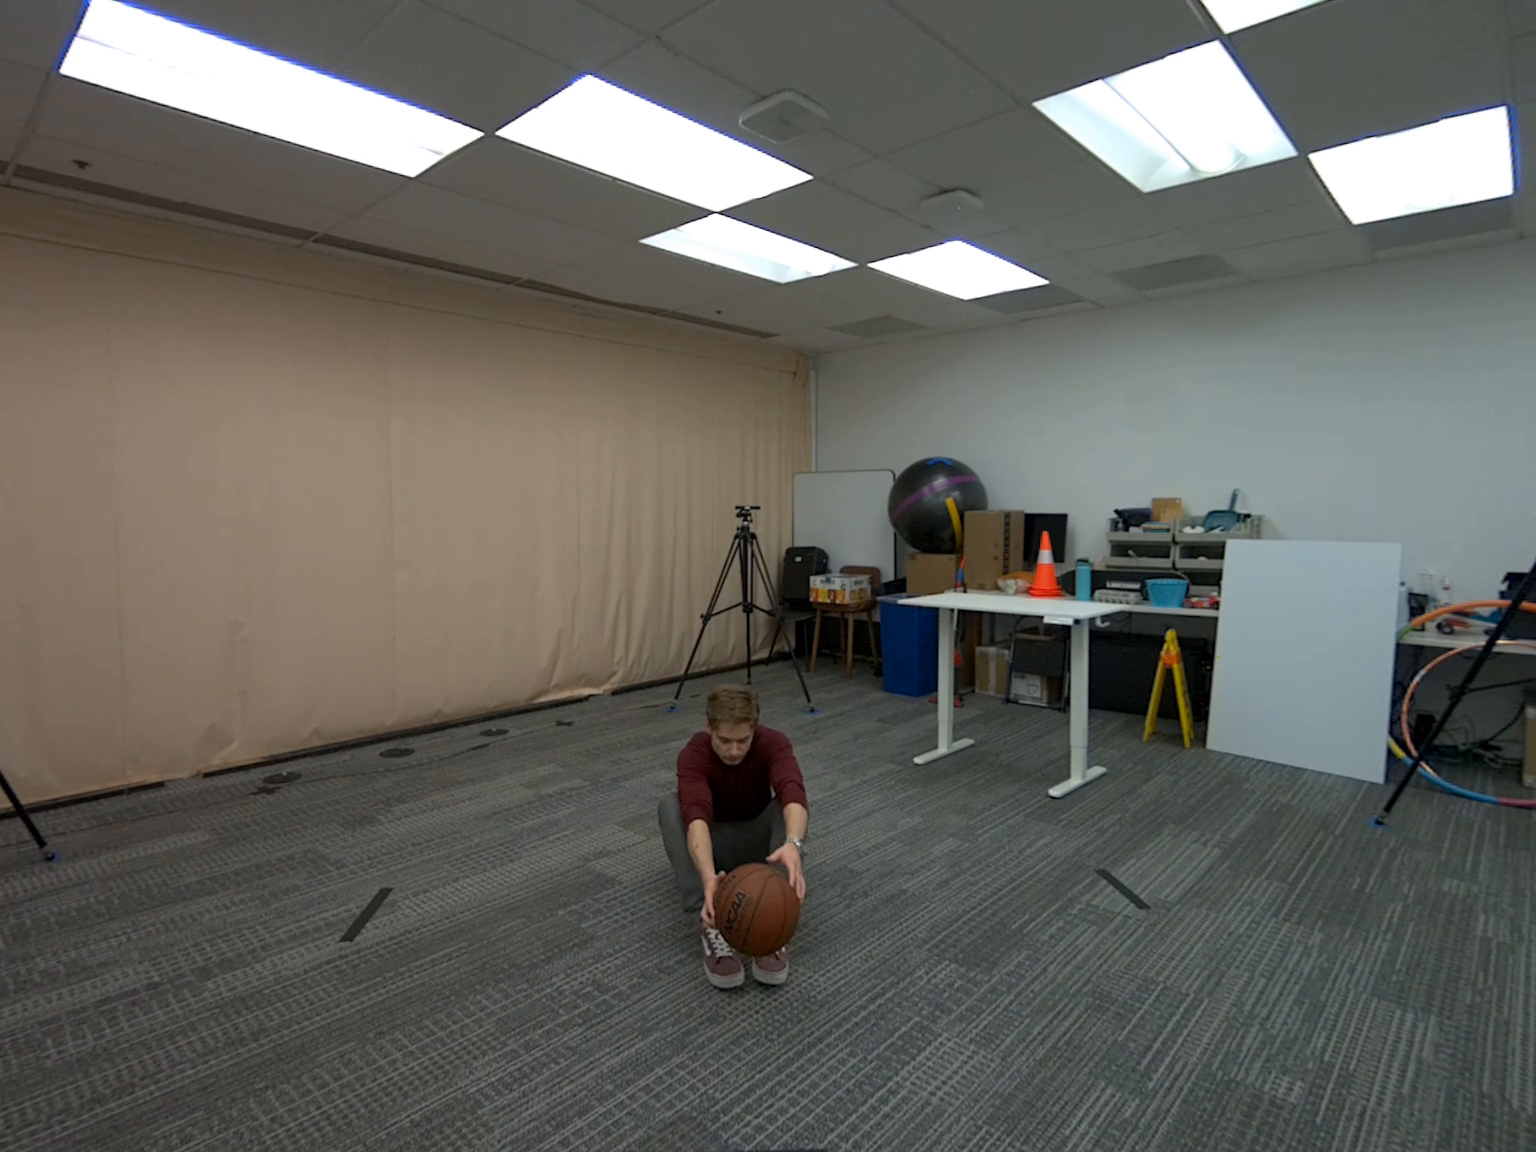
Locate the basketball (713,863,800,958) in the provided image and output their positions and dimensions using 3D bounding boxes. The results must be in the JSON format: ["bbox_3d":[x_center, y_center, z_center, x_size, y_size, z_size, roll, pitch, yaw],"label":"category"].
[{"bbox_3d":[-0.027,0.926,2.348,0.236,0.235,0.237,0,4,-2],"label":"basketball"}]
